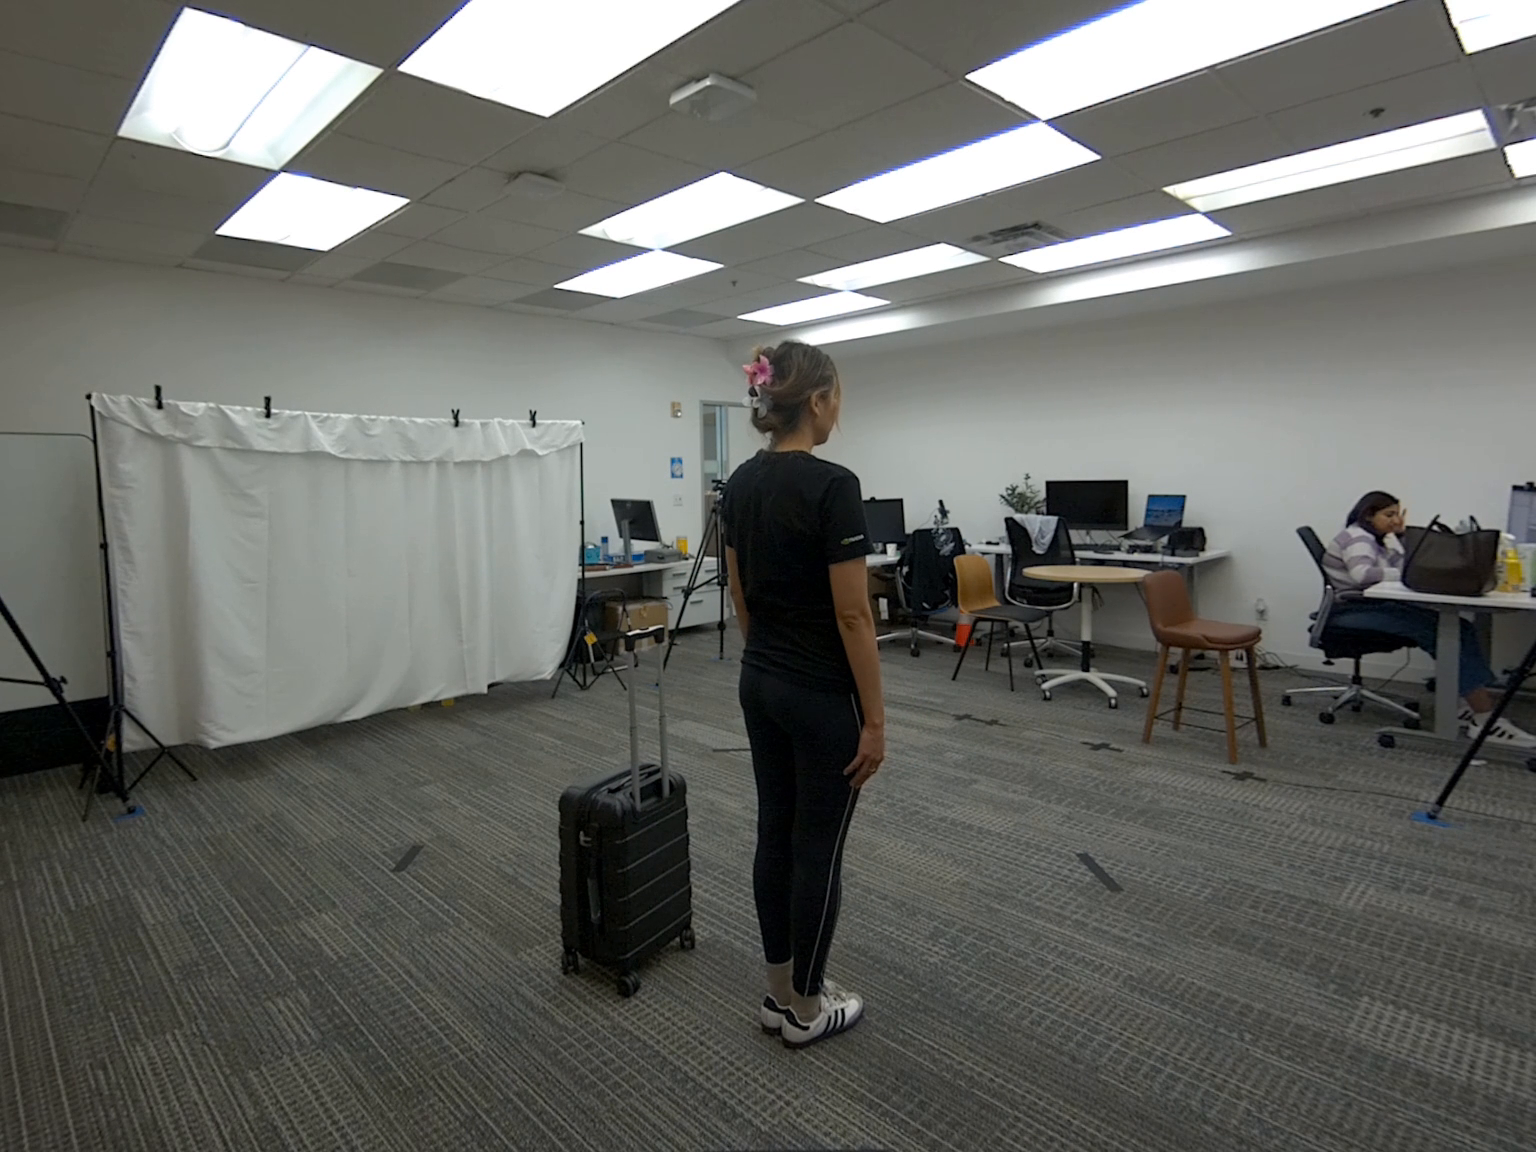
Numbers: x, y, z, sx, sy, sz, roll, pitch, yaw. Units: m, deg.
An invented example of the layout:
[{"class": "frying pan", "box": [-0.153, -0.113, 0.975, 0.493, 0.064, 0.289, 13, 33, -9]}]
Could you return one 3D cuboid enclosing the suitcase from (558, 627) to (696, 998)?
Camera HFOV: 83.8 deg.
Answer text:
[{"class": "suitcase", "box": [-0.424, 0.647, 2.499, 0.264, 0.976, 0.375, -1, 4, 32]}]
